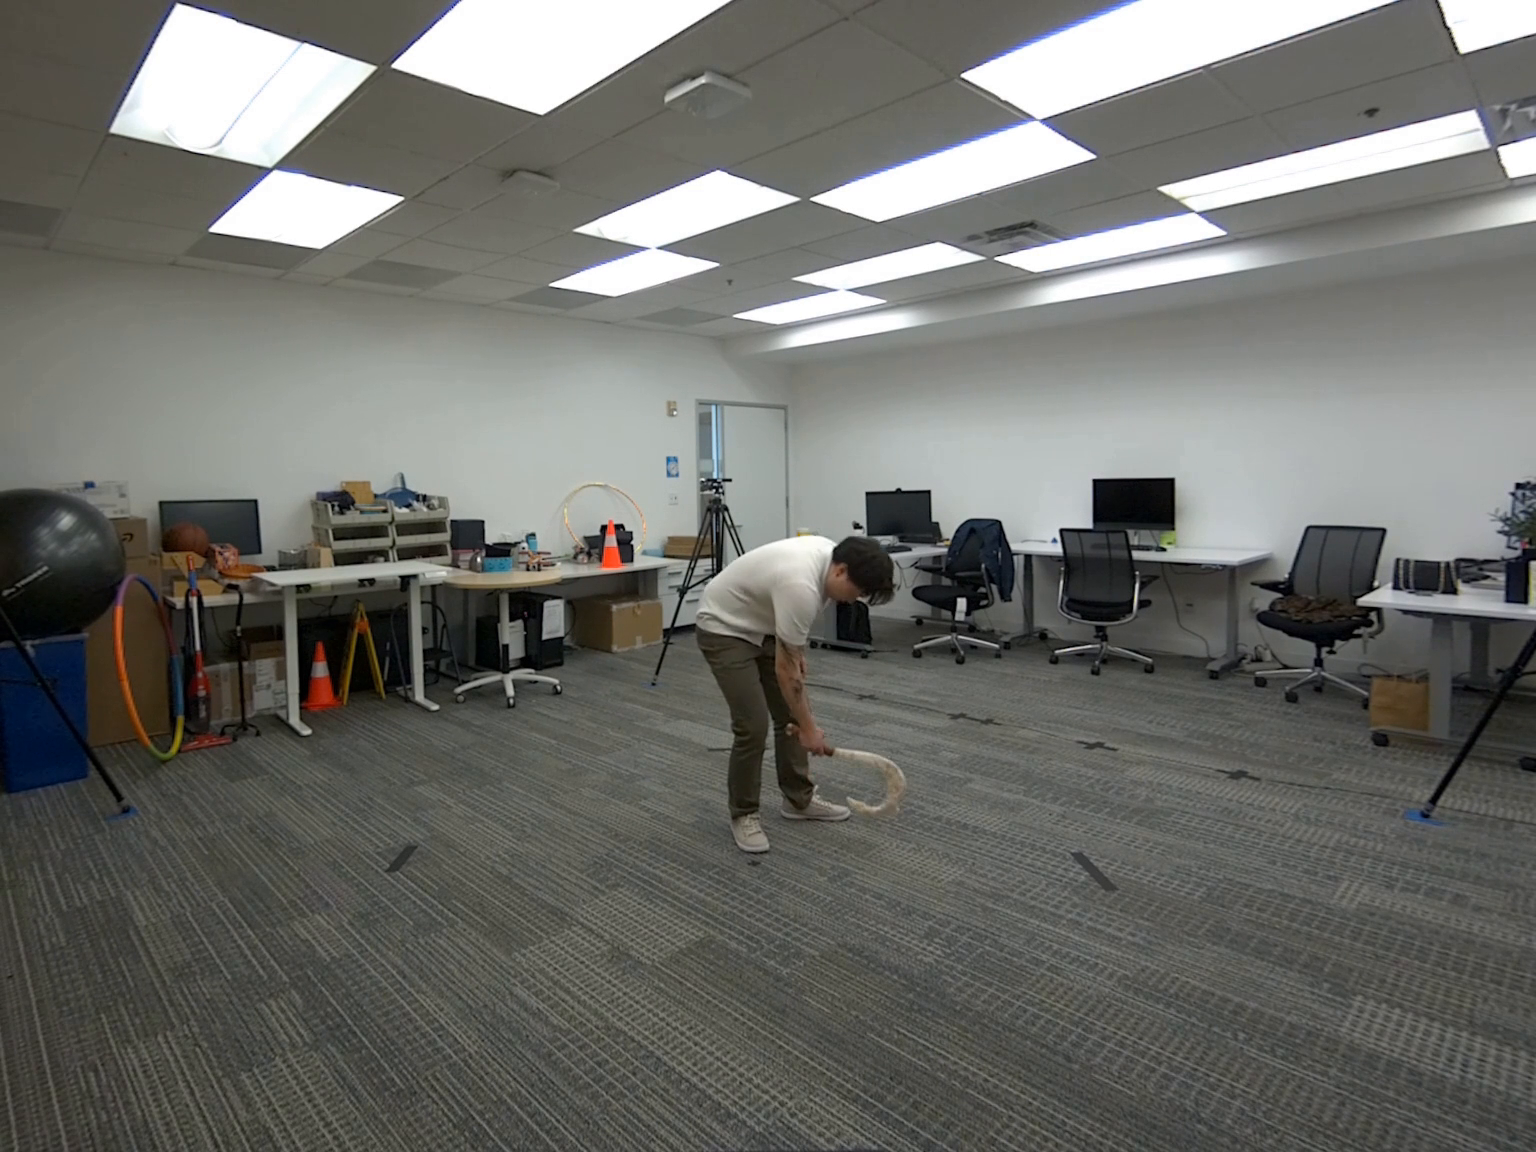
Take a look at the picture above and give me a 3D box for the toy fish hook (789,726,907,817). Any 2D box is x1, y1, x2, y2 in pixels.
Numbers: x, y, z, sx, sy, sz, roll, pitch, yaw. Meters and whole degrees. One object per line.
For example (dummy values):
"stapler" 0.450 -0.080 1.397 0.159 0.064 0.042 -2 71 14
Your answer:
"toy fish hook" 0.274 0.718 3.194 0.509 0.226 0.047 24 -23 4
